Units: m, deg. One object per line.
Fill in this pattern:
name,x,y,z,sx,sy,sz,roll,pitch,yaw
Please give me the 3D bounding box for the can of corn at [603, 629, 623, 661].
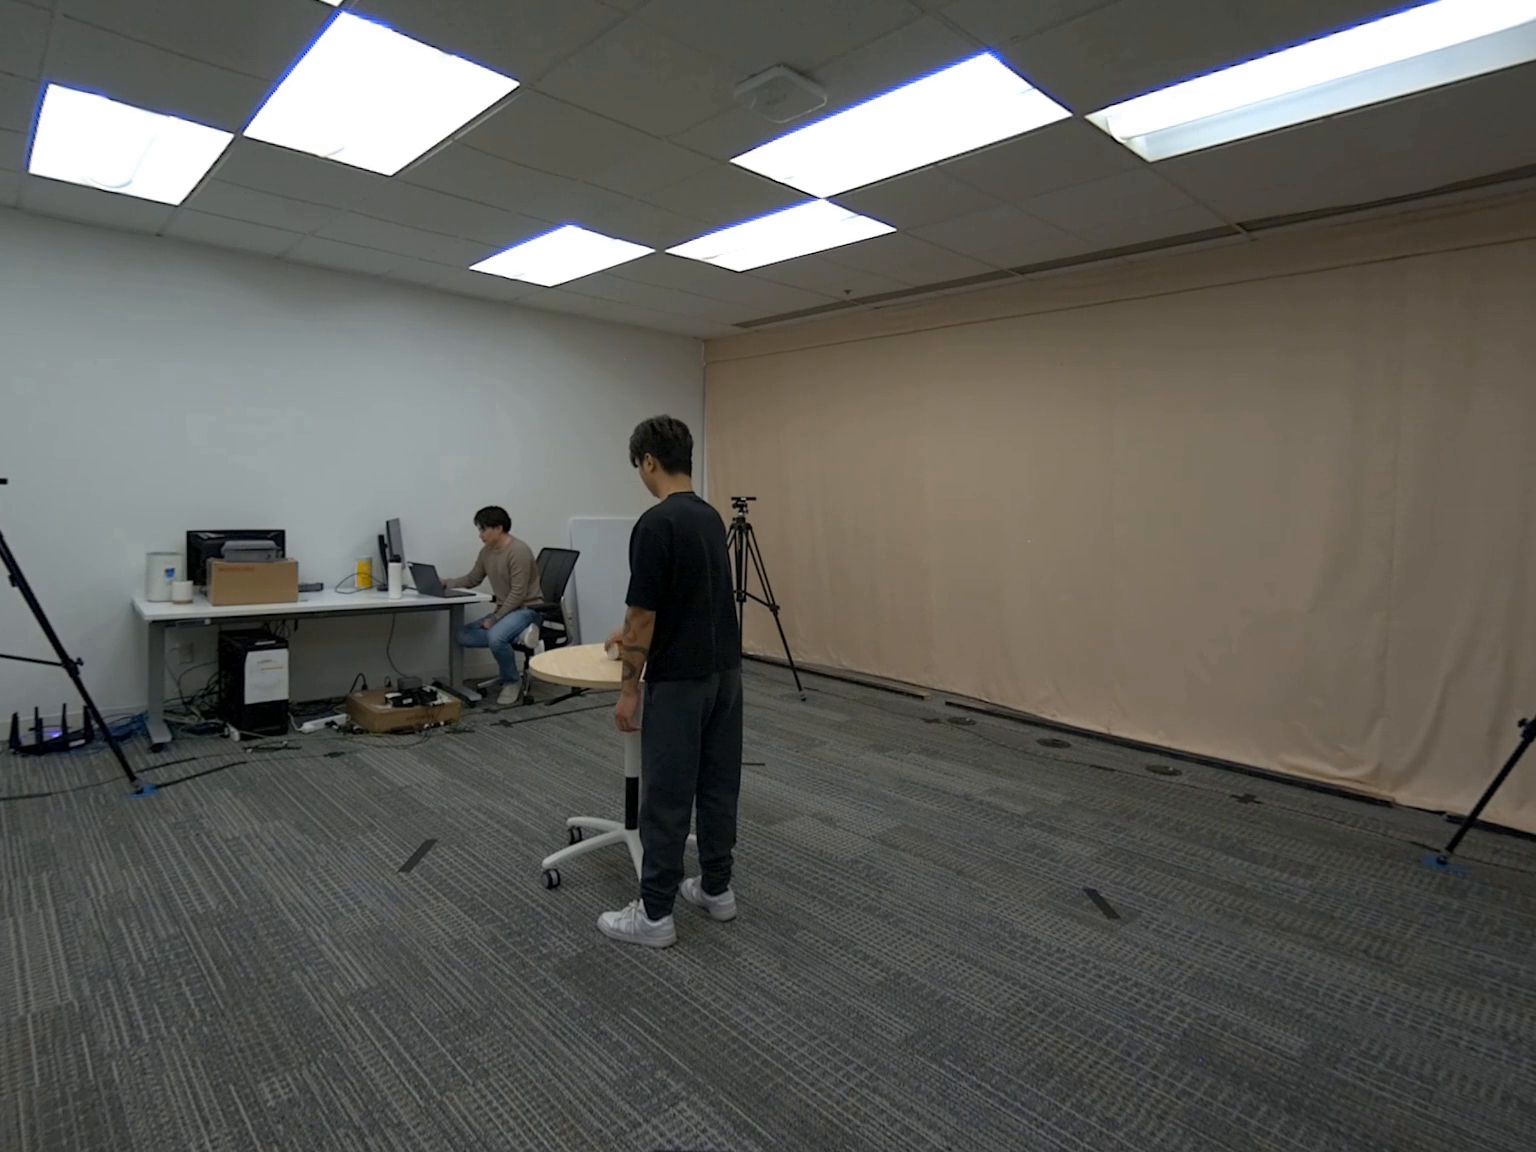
can of corn,-0.549,0.273,3.163,0.076,0.074,0.109,4,6,34
